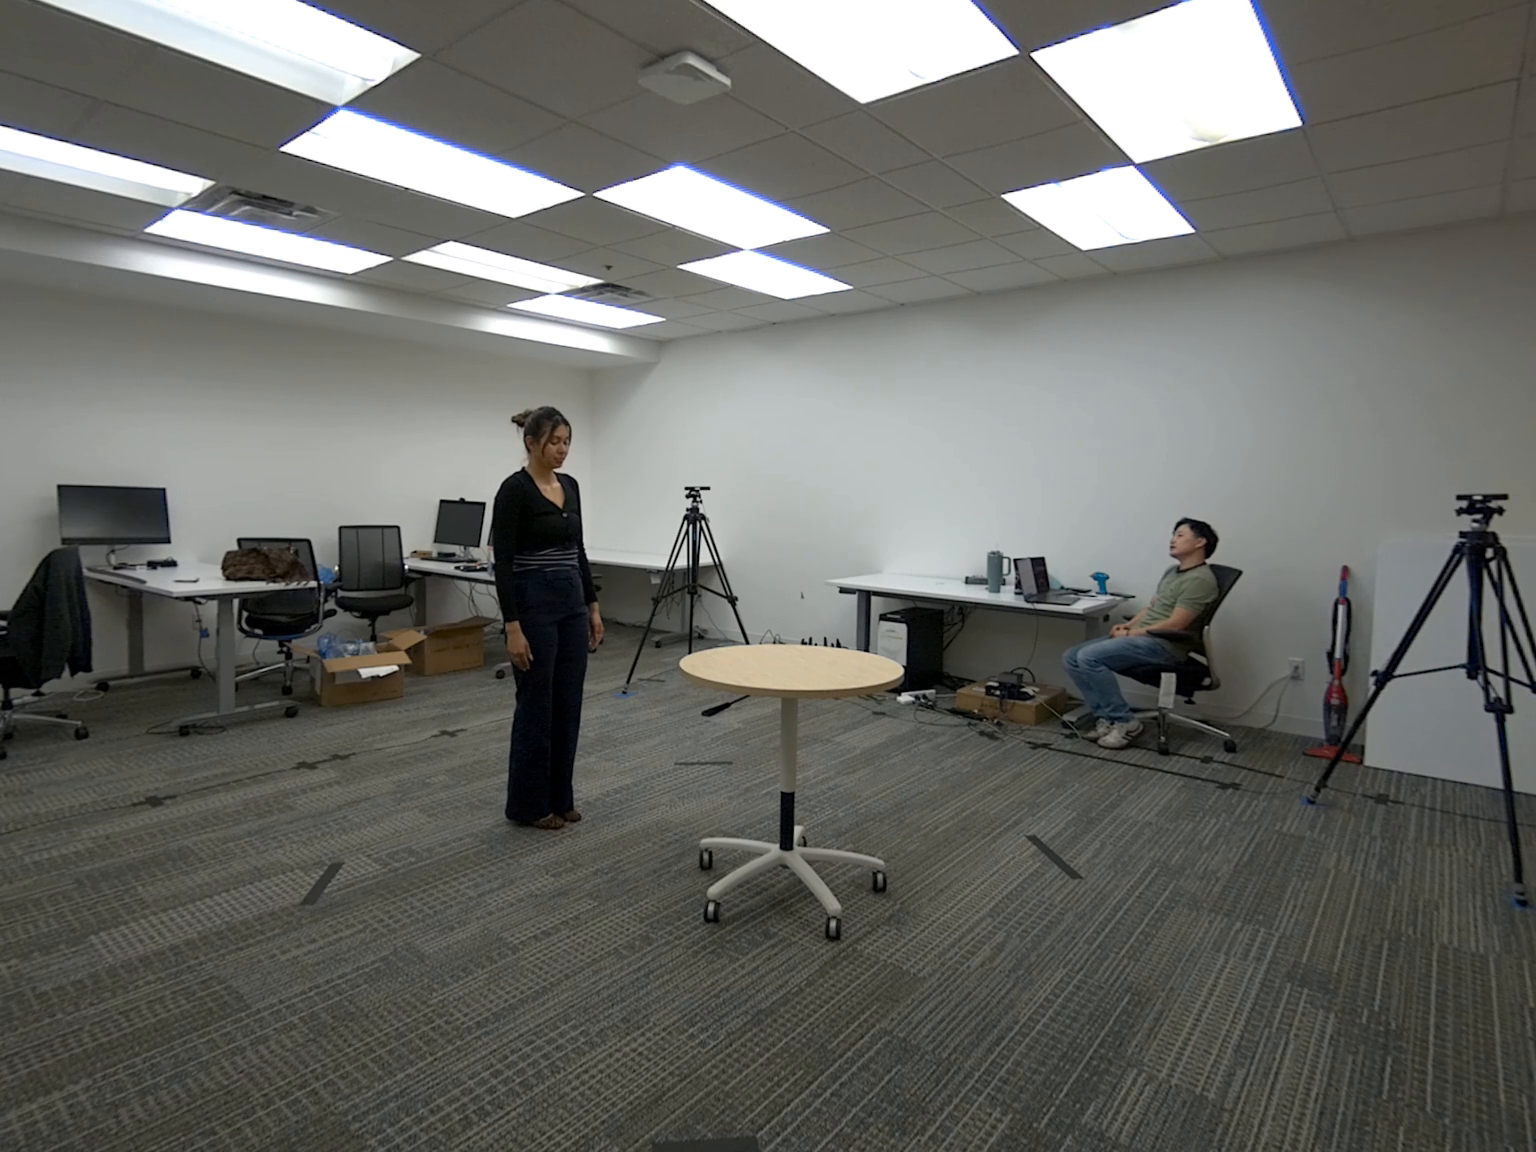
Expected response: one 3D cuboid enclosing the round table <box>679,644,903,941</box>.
[{"bbox_3d":[0.057,0.696,2.946,0.763,0.791,0.768,1,4,-2],"label":"round table"}]
